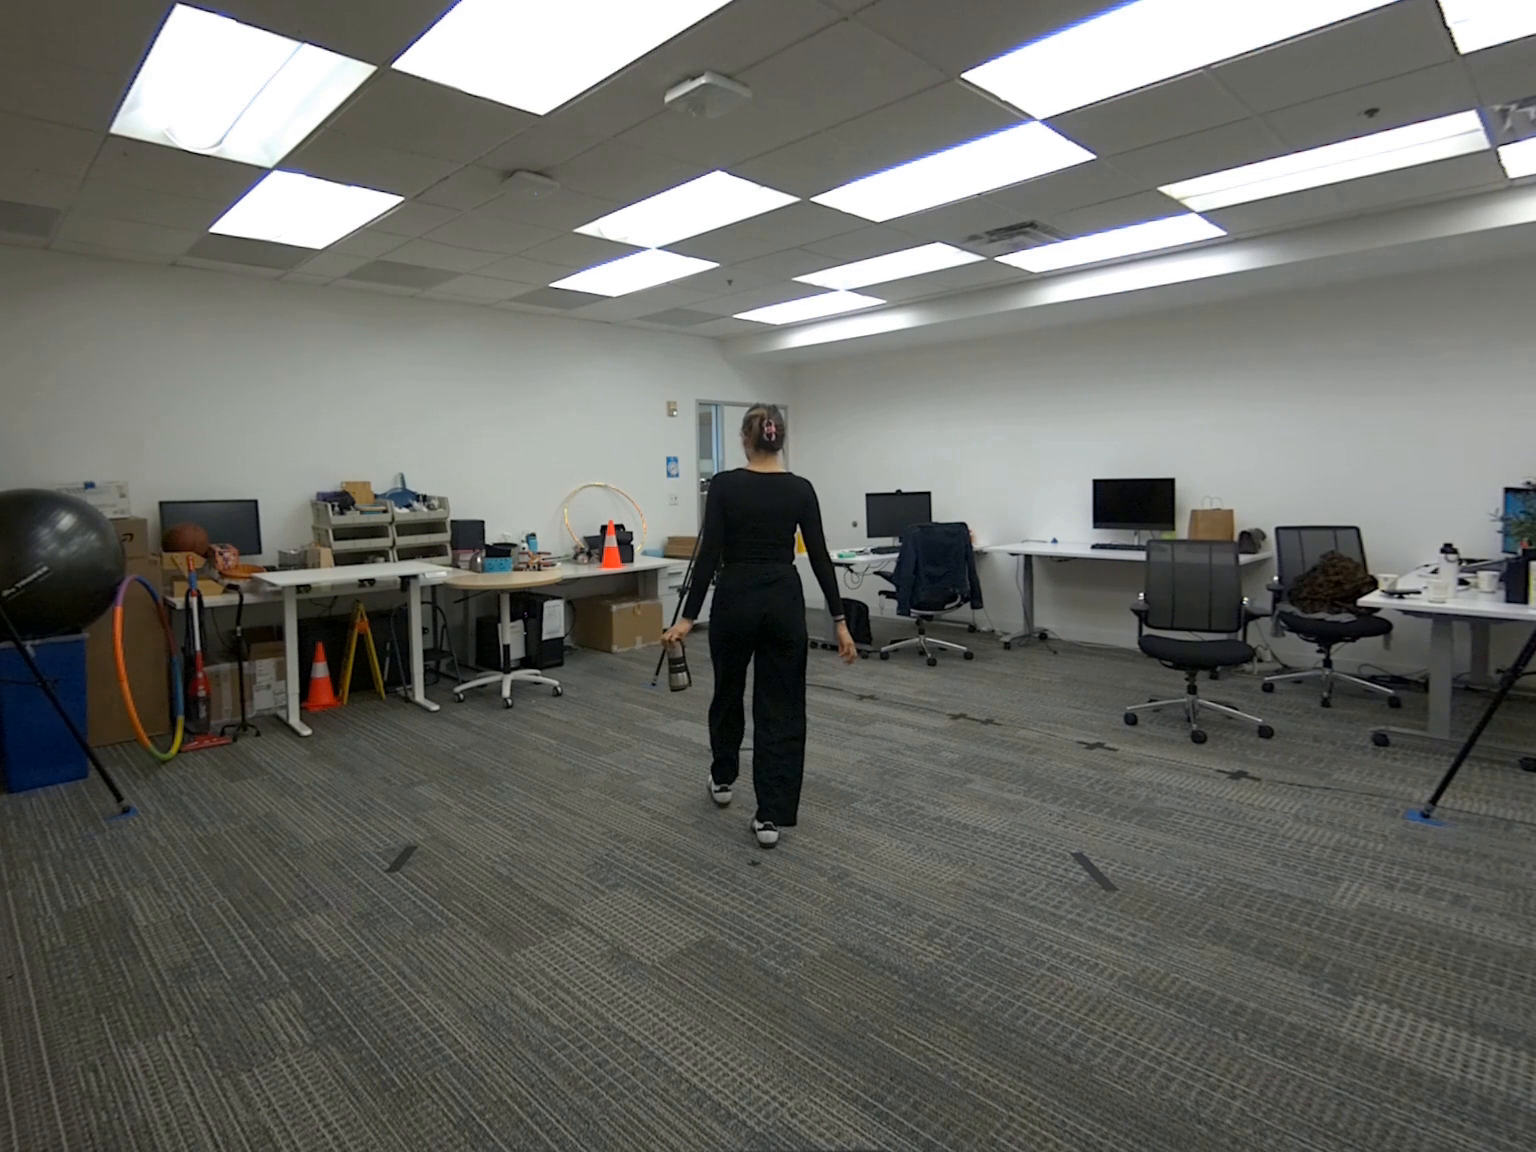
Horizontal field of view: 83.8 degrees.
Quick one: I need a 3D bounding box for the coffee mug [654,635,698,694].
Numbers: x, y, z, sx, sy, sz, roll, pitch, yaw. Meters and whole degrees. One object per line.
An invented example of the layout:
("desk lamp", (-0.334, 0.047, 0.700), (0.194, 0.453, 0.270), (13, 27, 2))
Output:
("coffee mug", (-0.358, 0.333, 3.309), (0.086, 0.202, 0.125), (-13, 5, -29))
